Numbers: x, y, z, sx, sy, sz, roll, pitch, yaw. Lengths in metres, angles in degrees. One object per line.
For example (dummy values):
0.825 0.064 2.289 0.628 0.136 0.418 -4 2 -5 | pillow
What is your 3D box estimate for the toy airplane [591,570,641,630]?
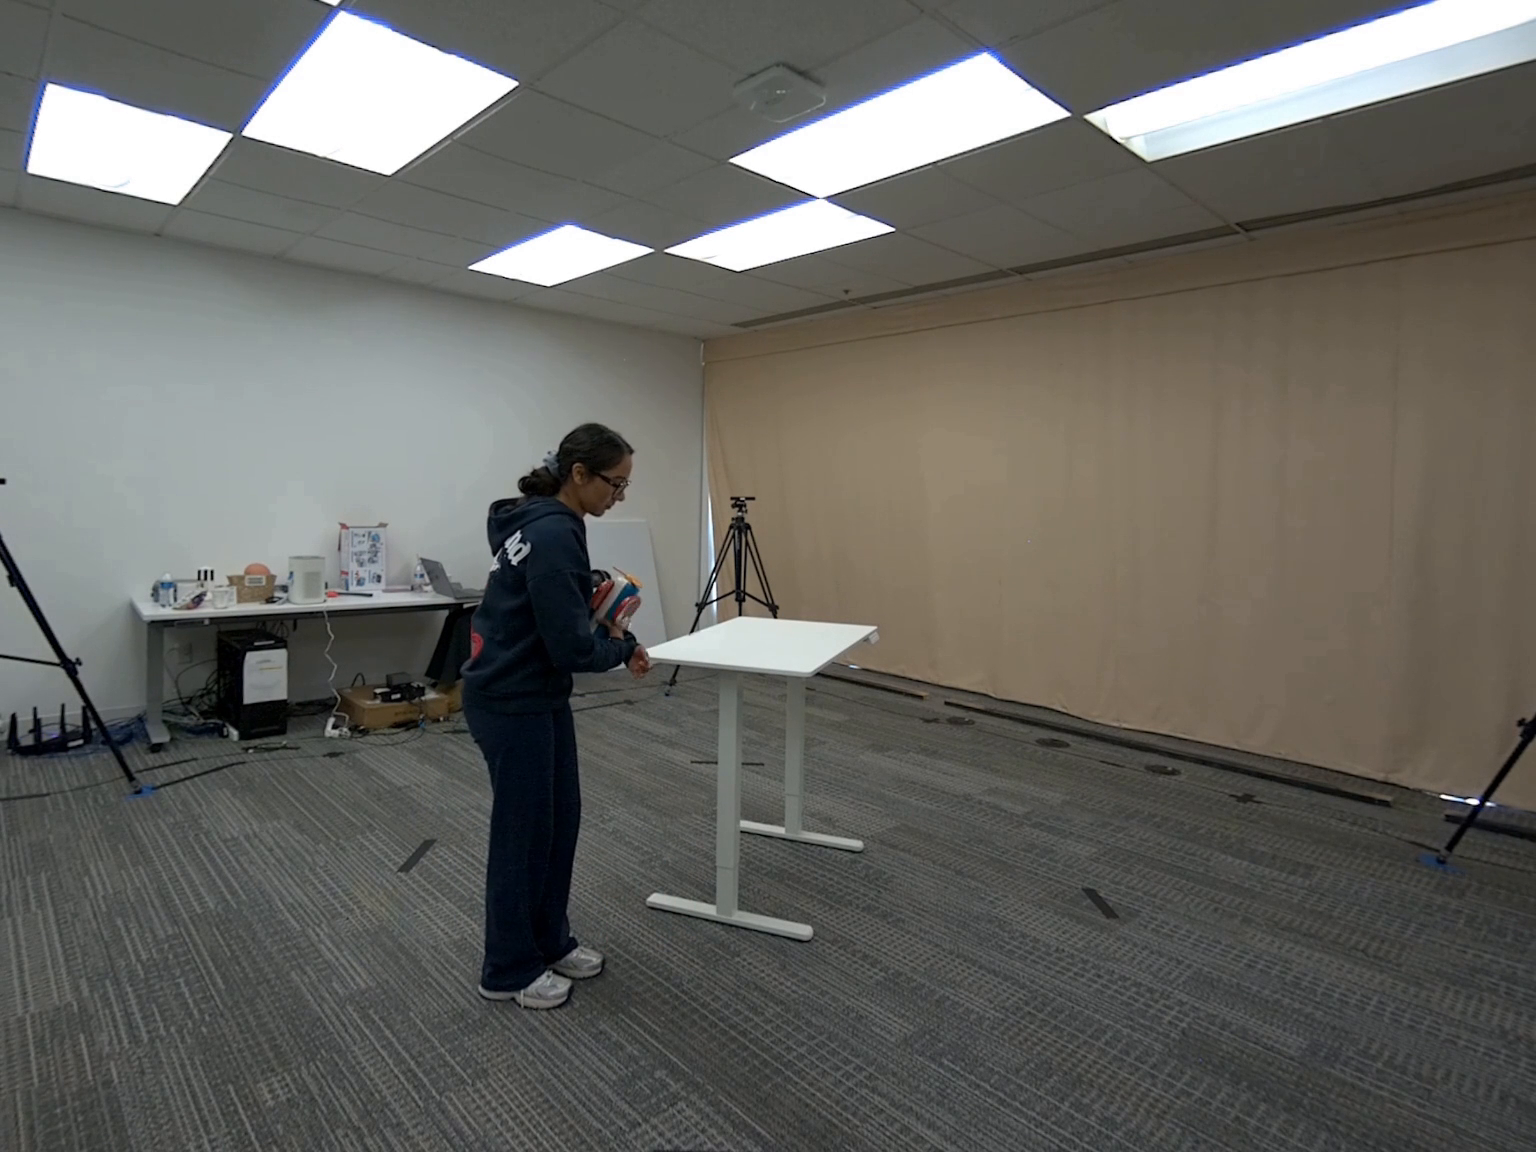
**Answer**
-0.478 0.108 2.446 0.157 0.256 0.253 19 25 0 | toy airplane
